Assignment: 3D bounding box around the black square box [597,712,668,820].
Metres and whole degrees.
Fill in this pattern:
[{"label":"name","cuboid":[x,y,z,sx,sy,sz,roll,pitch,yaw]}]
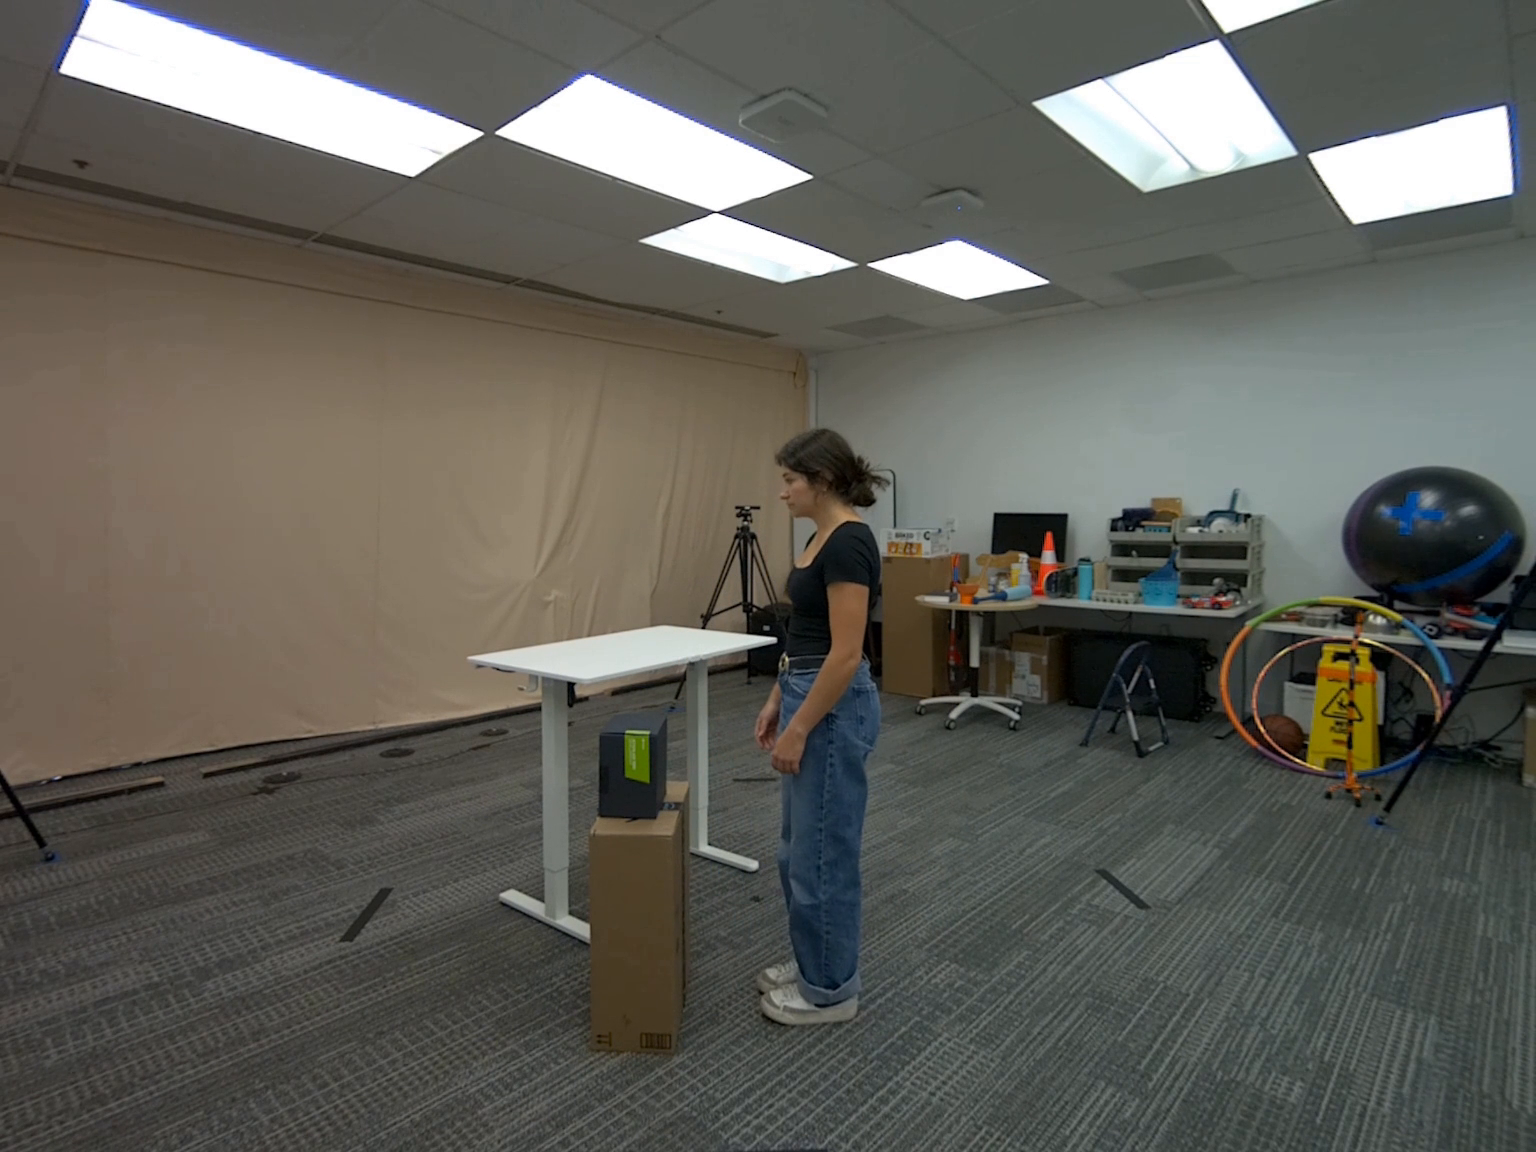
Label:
[{"label":"black square box","cuboid":[-0.372,0.512,2.339,0.156,0.227,0.217,-1,6,1]}]
